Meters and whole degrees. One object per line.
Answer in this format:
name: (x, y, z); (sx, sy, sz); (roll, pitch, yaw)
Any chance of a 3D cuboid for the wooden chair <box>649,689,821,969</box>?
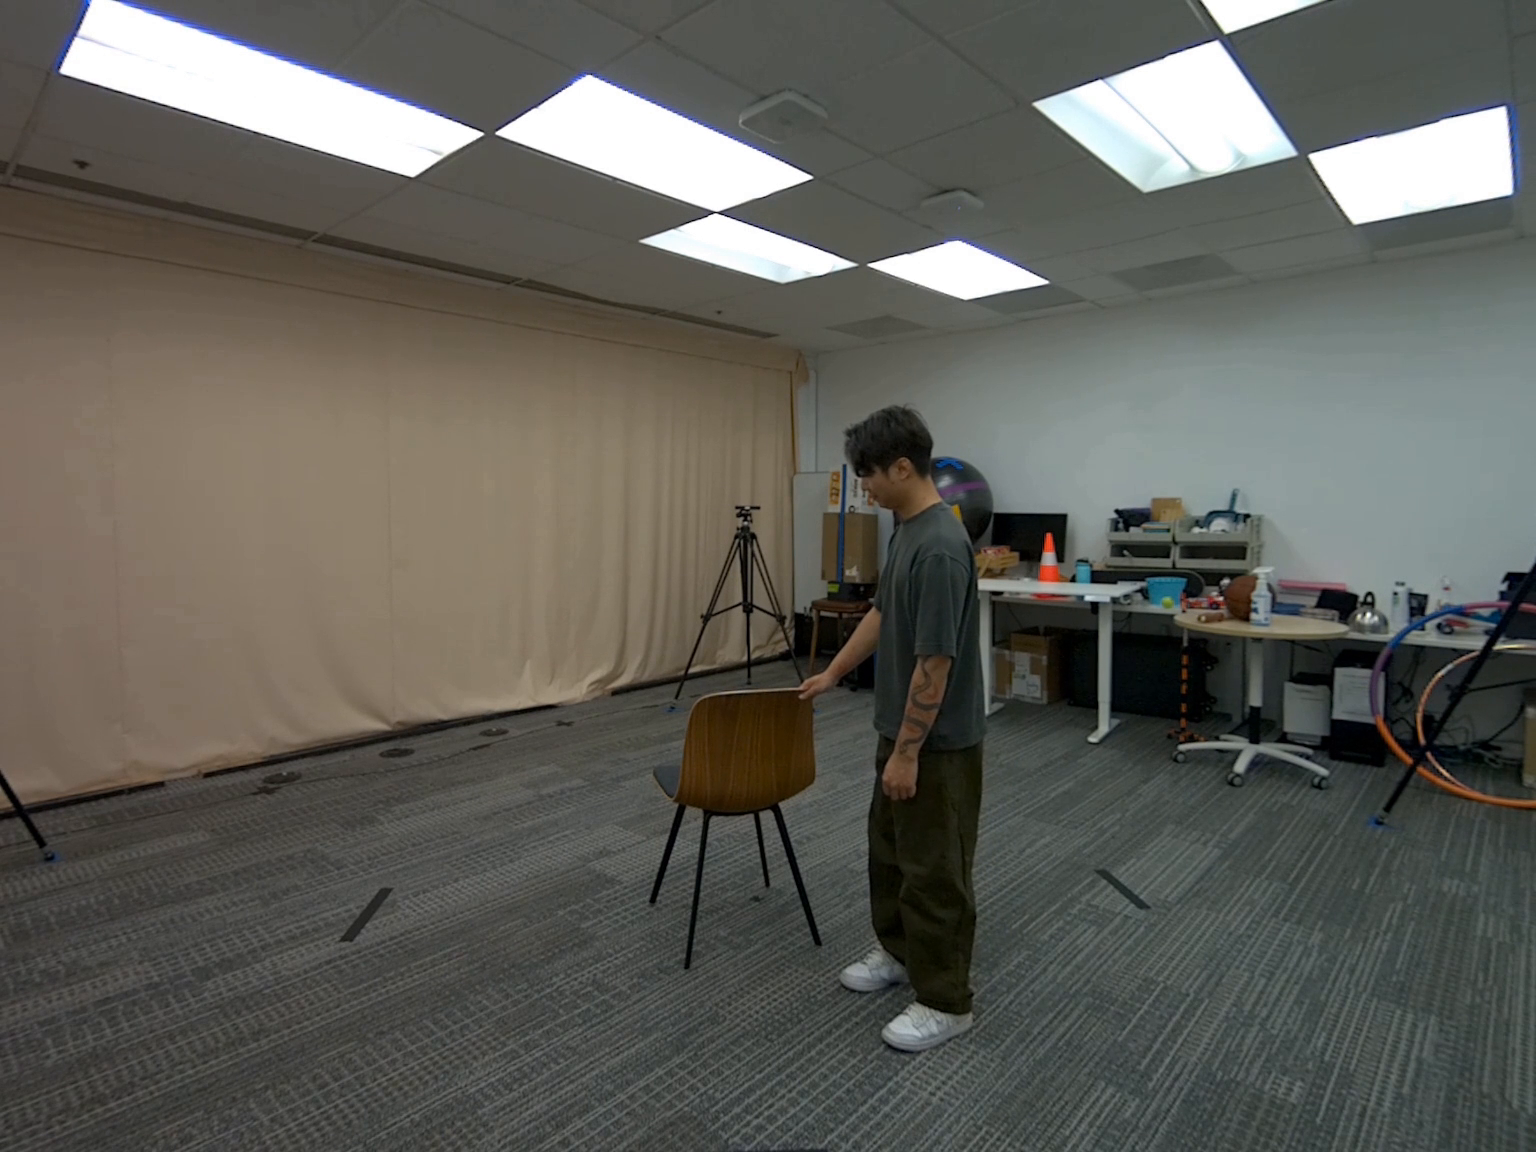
wooden chair: (-0.122, 0.734, 2.788); (0.469, 0.873, 0.536); (-2, 8, -20)
